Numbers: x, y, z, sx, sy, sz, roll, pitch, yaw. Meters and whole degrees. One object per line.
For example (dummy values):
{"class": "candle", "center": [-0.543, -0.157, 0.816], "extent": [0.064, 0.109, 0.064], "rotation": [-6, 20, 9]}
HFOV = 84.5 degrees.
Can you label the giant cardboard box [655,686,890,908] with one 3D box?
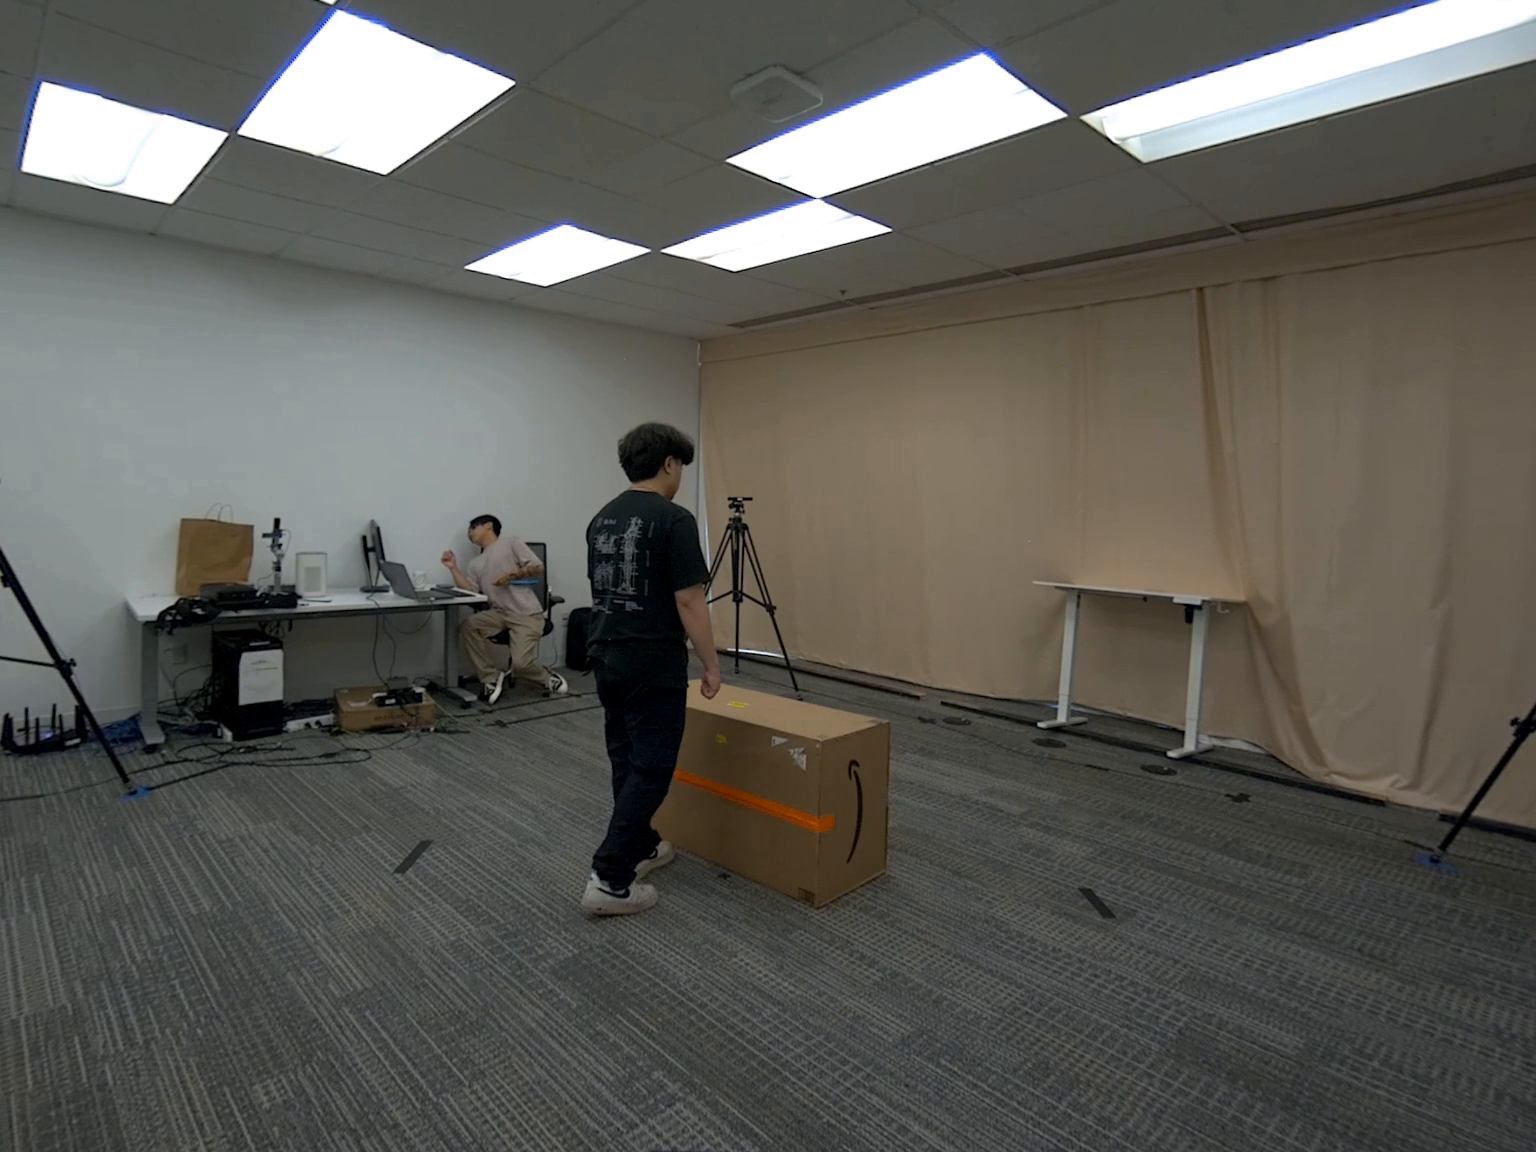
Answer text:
{"class": "giant cardboard box", "center": [-0.074, 0.801, 3.355], "extent": [1.053, 0.582, 0.437], "rotation": [5, 5, 42]}
